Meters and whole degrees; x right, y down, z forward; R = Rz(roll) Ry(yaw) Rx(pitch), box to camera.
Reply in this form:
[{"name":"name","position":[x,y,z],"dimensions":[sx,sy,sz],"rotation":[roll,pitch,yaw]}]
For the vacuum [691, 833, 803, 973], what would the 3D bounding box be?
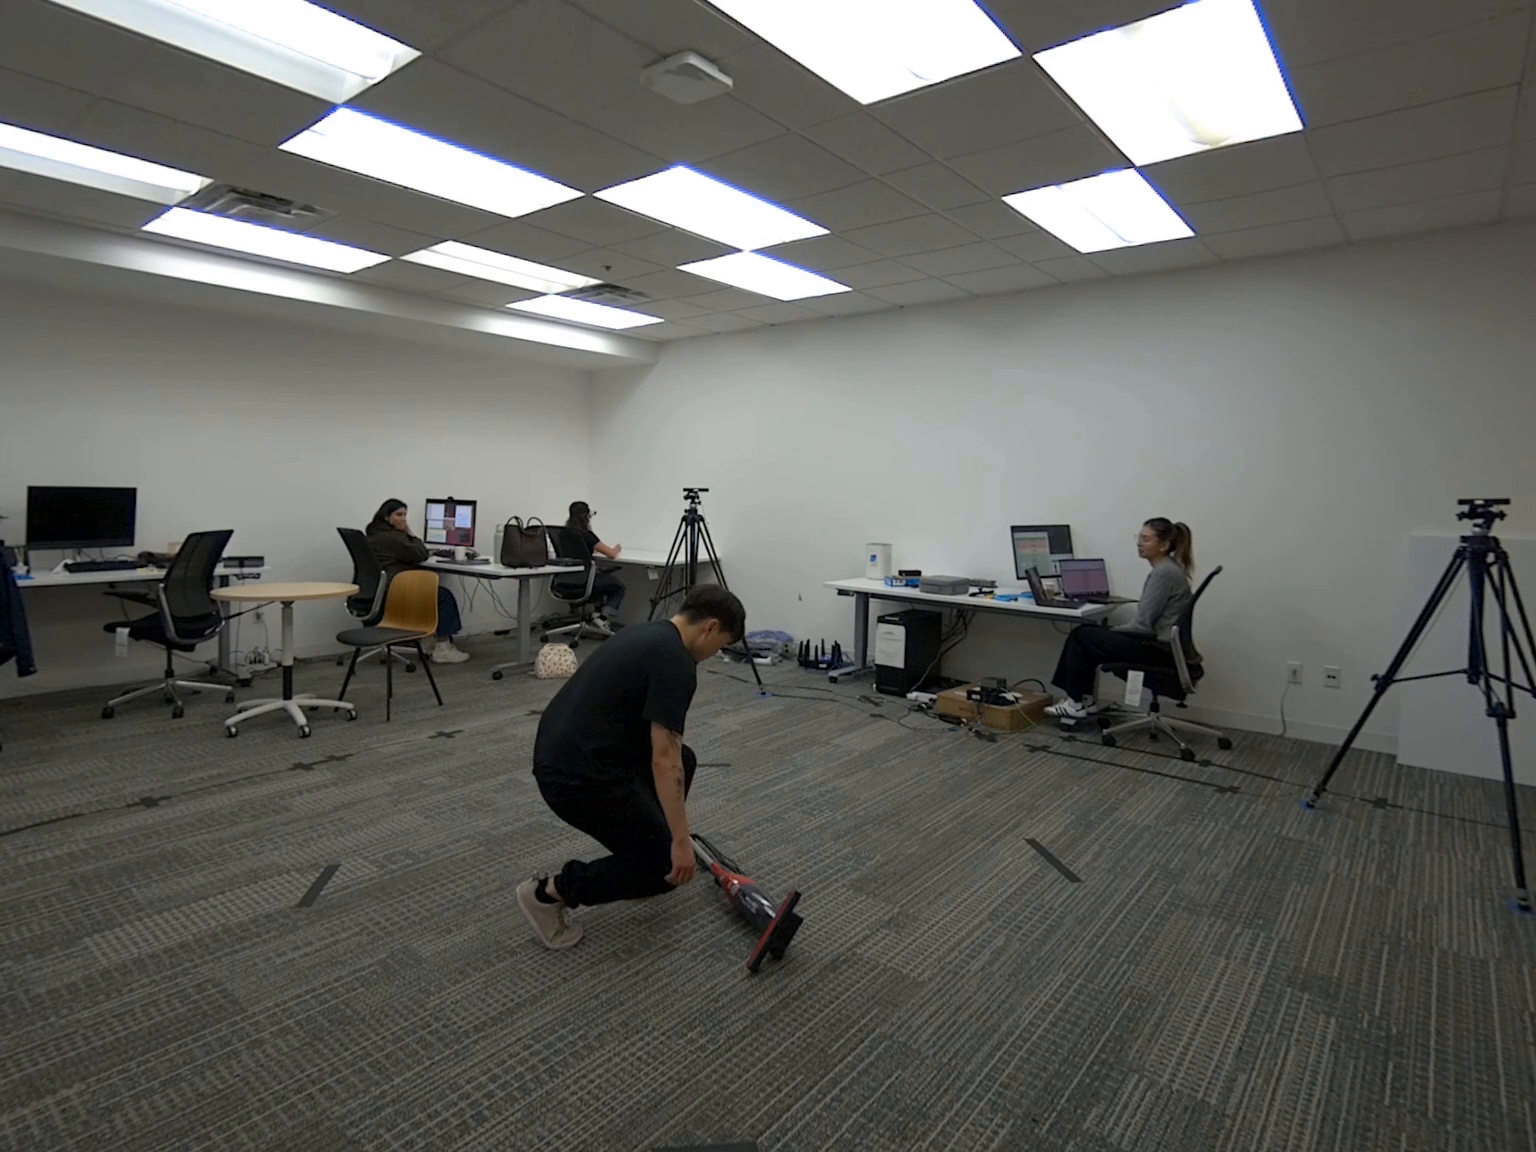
[{"name":"vacuum","position":[-0.181,1.021,2.975],"dimensions":[0.140,0.253,1.072],"rotation":[38,-12,-19]}]
